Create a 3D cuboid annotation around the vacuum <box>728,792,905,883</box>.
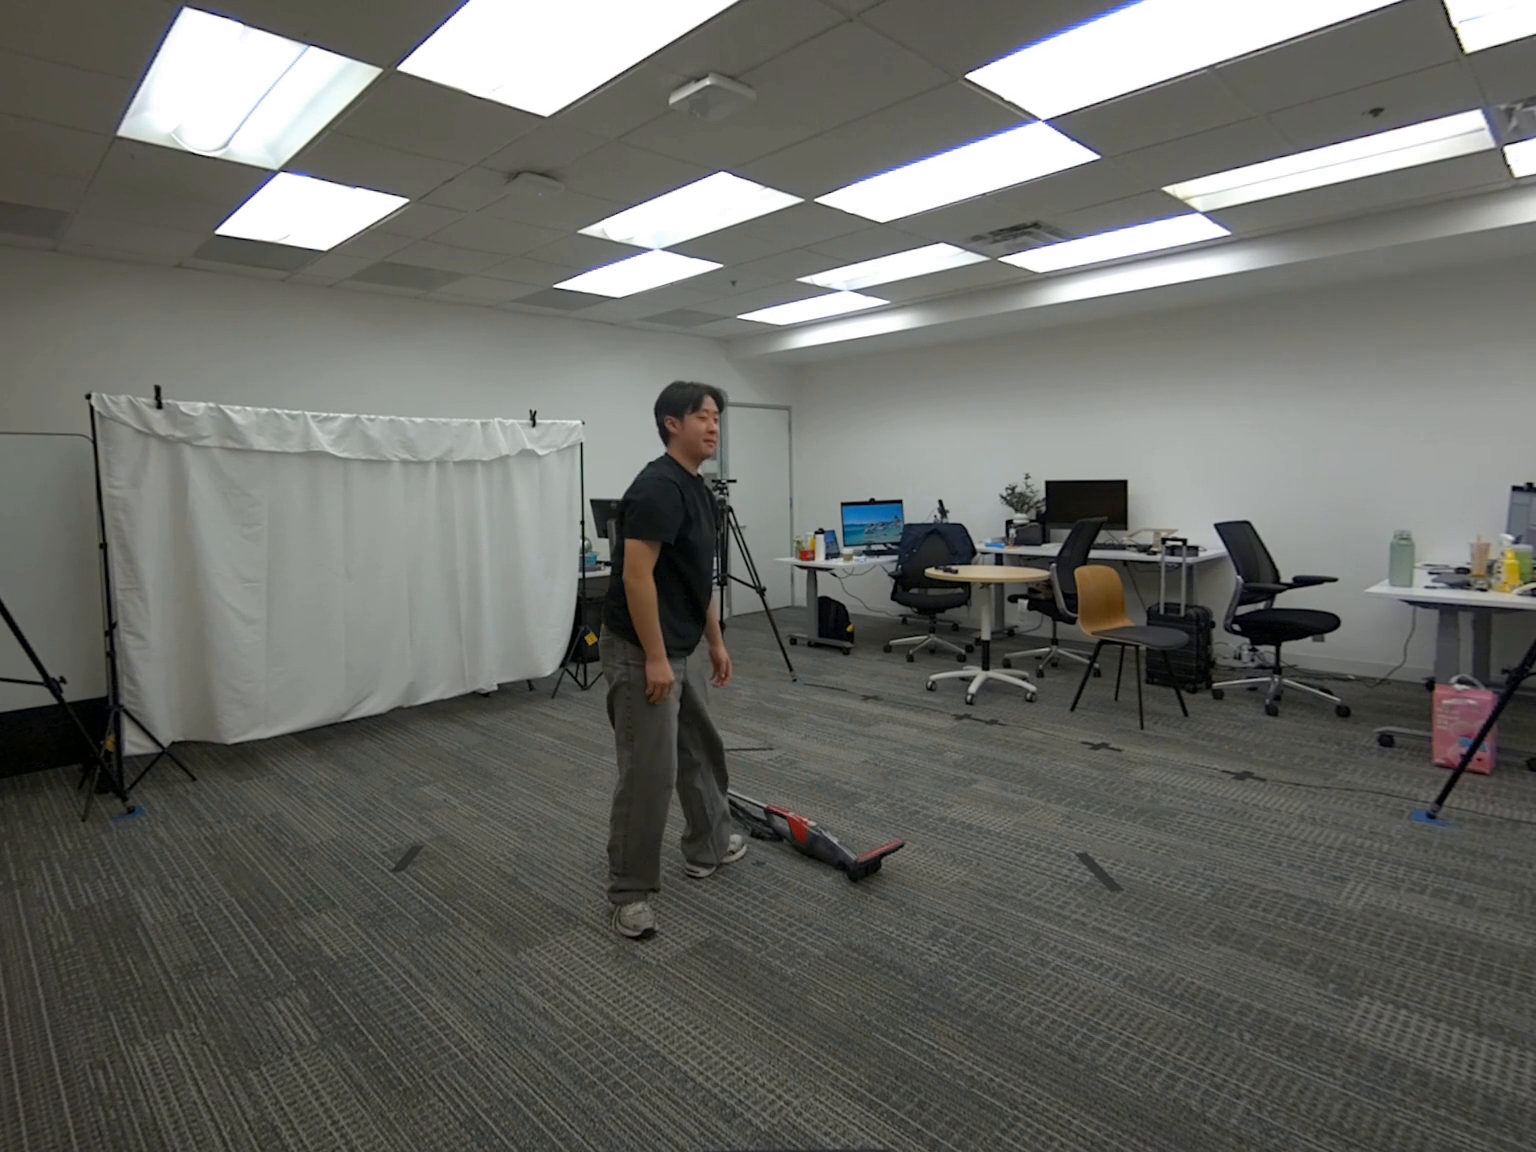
[{"bbox_3d":[0.006,0.959,3.356,0.246,0.143,1.082,-9,9,-41],"label":"vacuum"}]
